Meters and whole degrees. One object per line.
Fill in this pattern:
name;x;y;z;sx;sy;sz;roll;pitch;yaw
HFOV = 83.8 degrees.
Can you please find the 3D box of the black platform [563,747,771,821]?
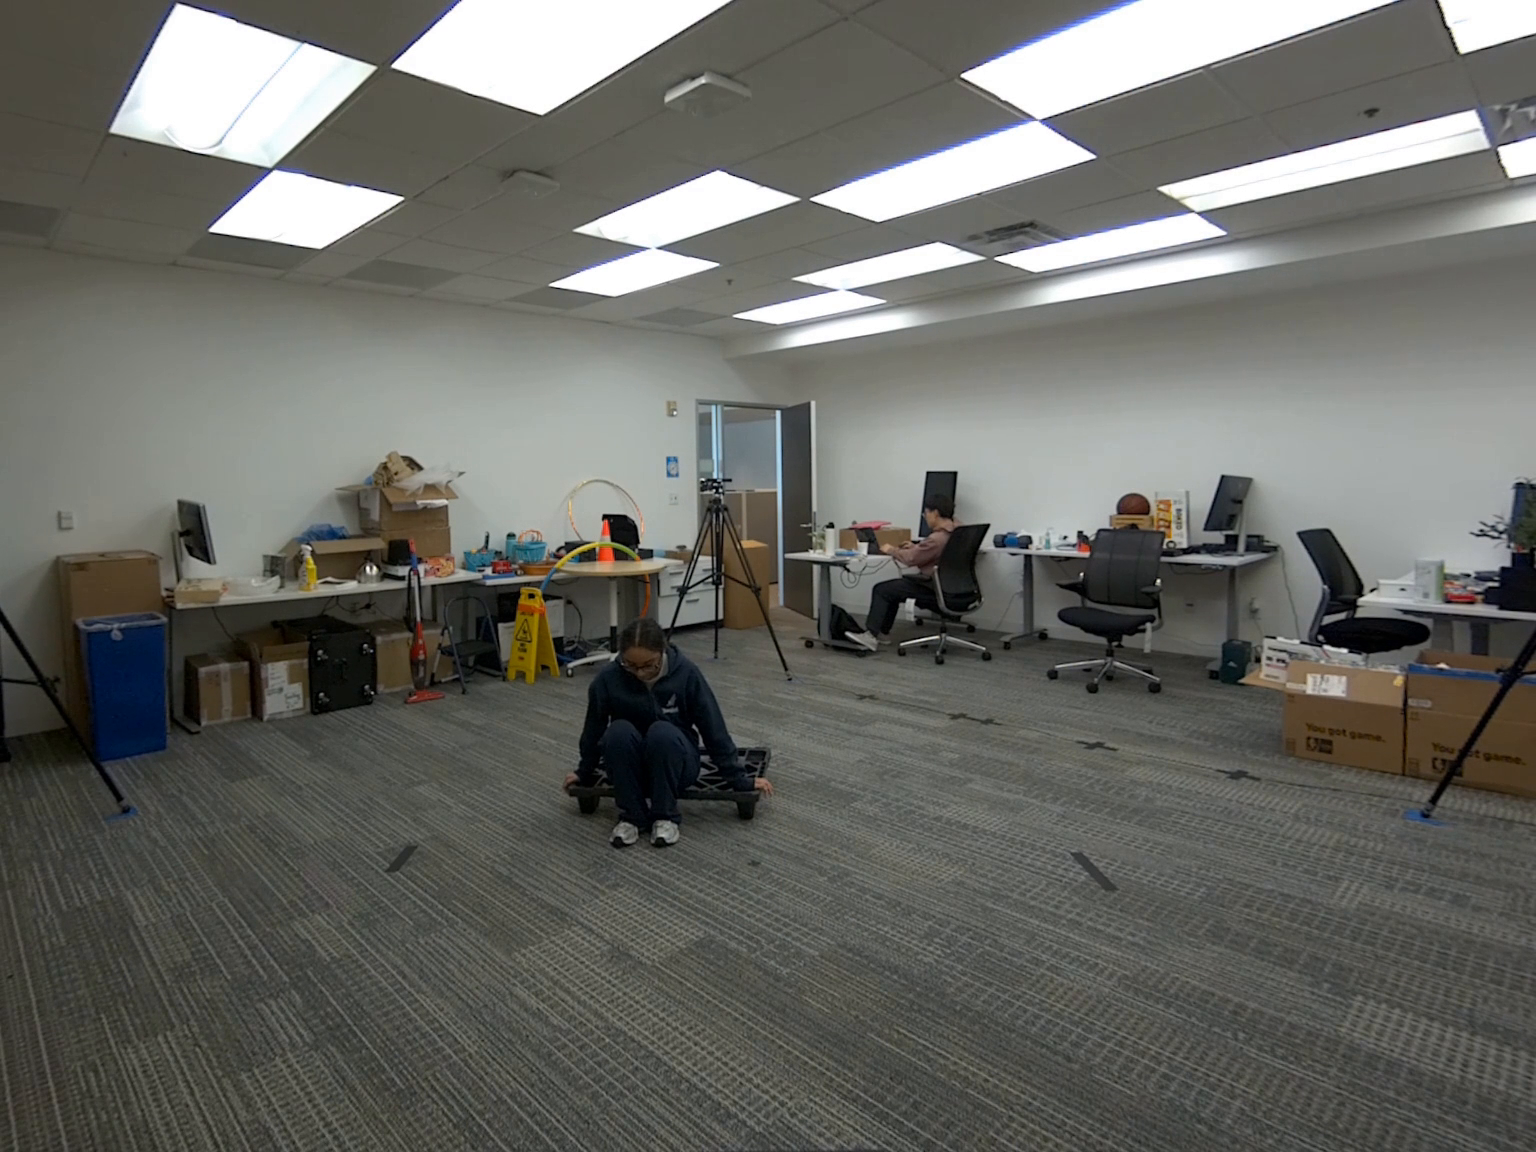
black platform;-0.400;0.904;3.792;0.811;0.143;0.602;0;4;7
